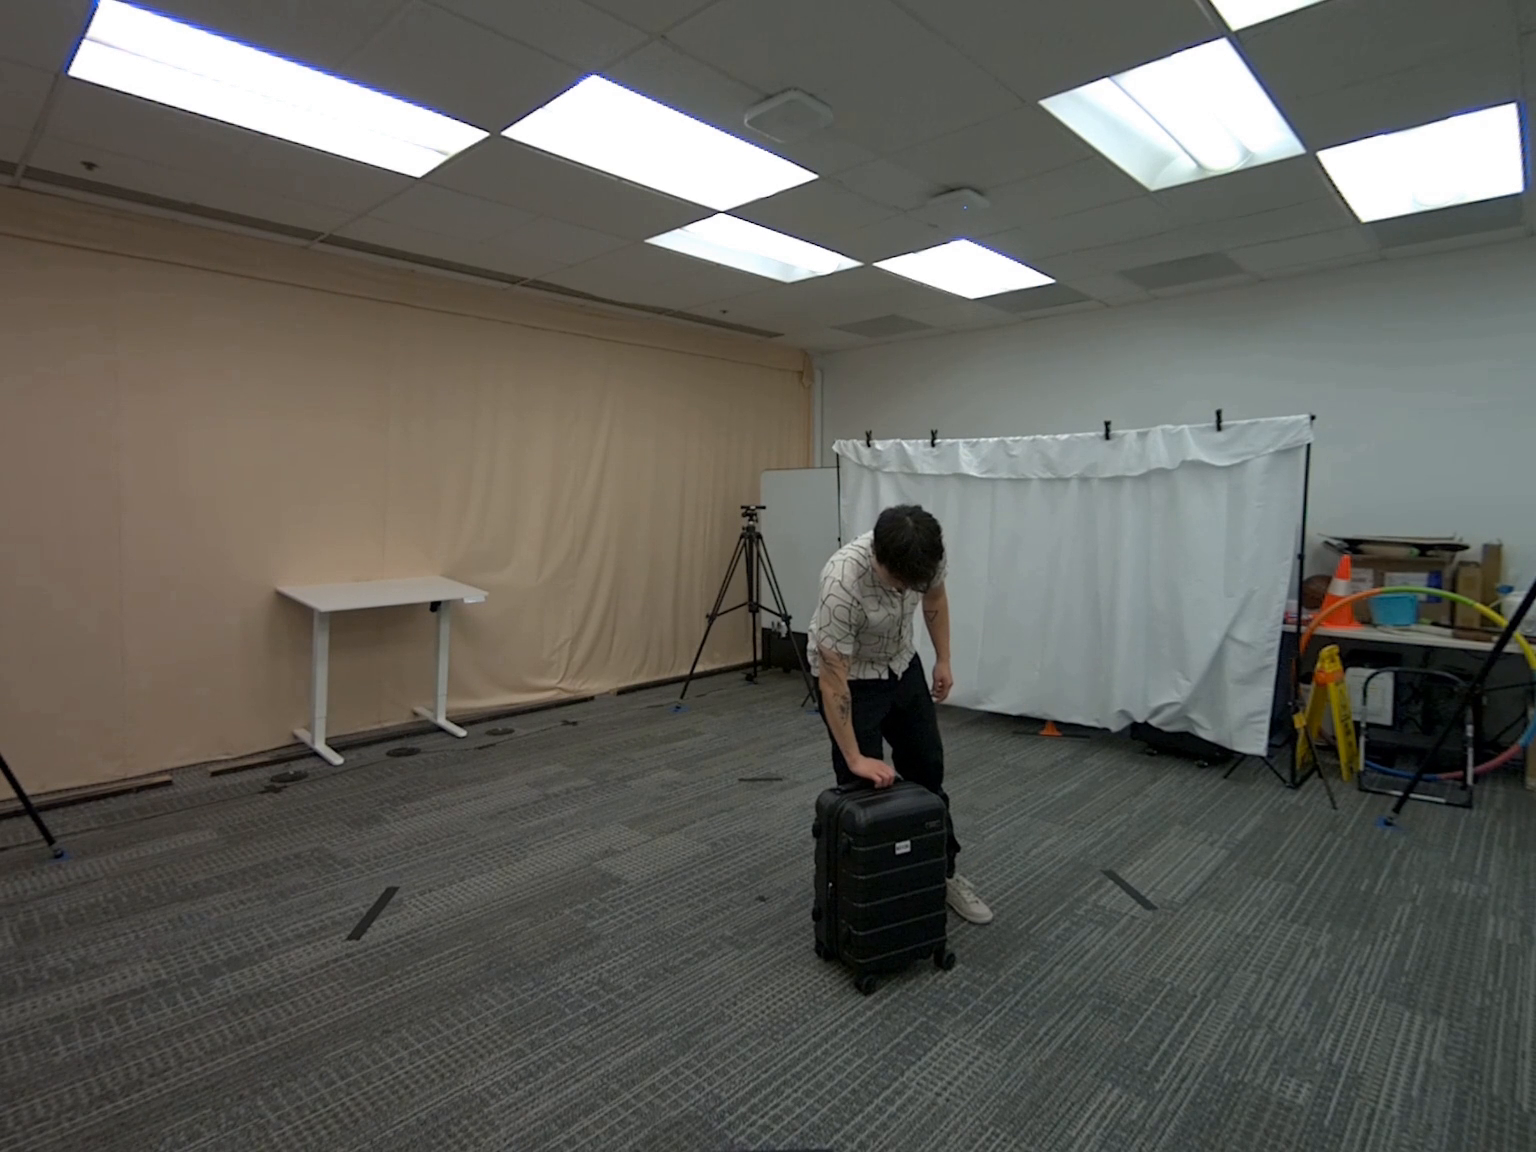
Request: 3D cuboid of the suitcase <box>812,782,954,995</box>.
[{"bbox_3d":[0.347,0.901,2.540,0.366,0.548,0.255,-2,4,-27],"label":"suitcase"}]
